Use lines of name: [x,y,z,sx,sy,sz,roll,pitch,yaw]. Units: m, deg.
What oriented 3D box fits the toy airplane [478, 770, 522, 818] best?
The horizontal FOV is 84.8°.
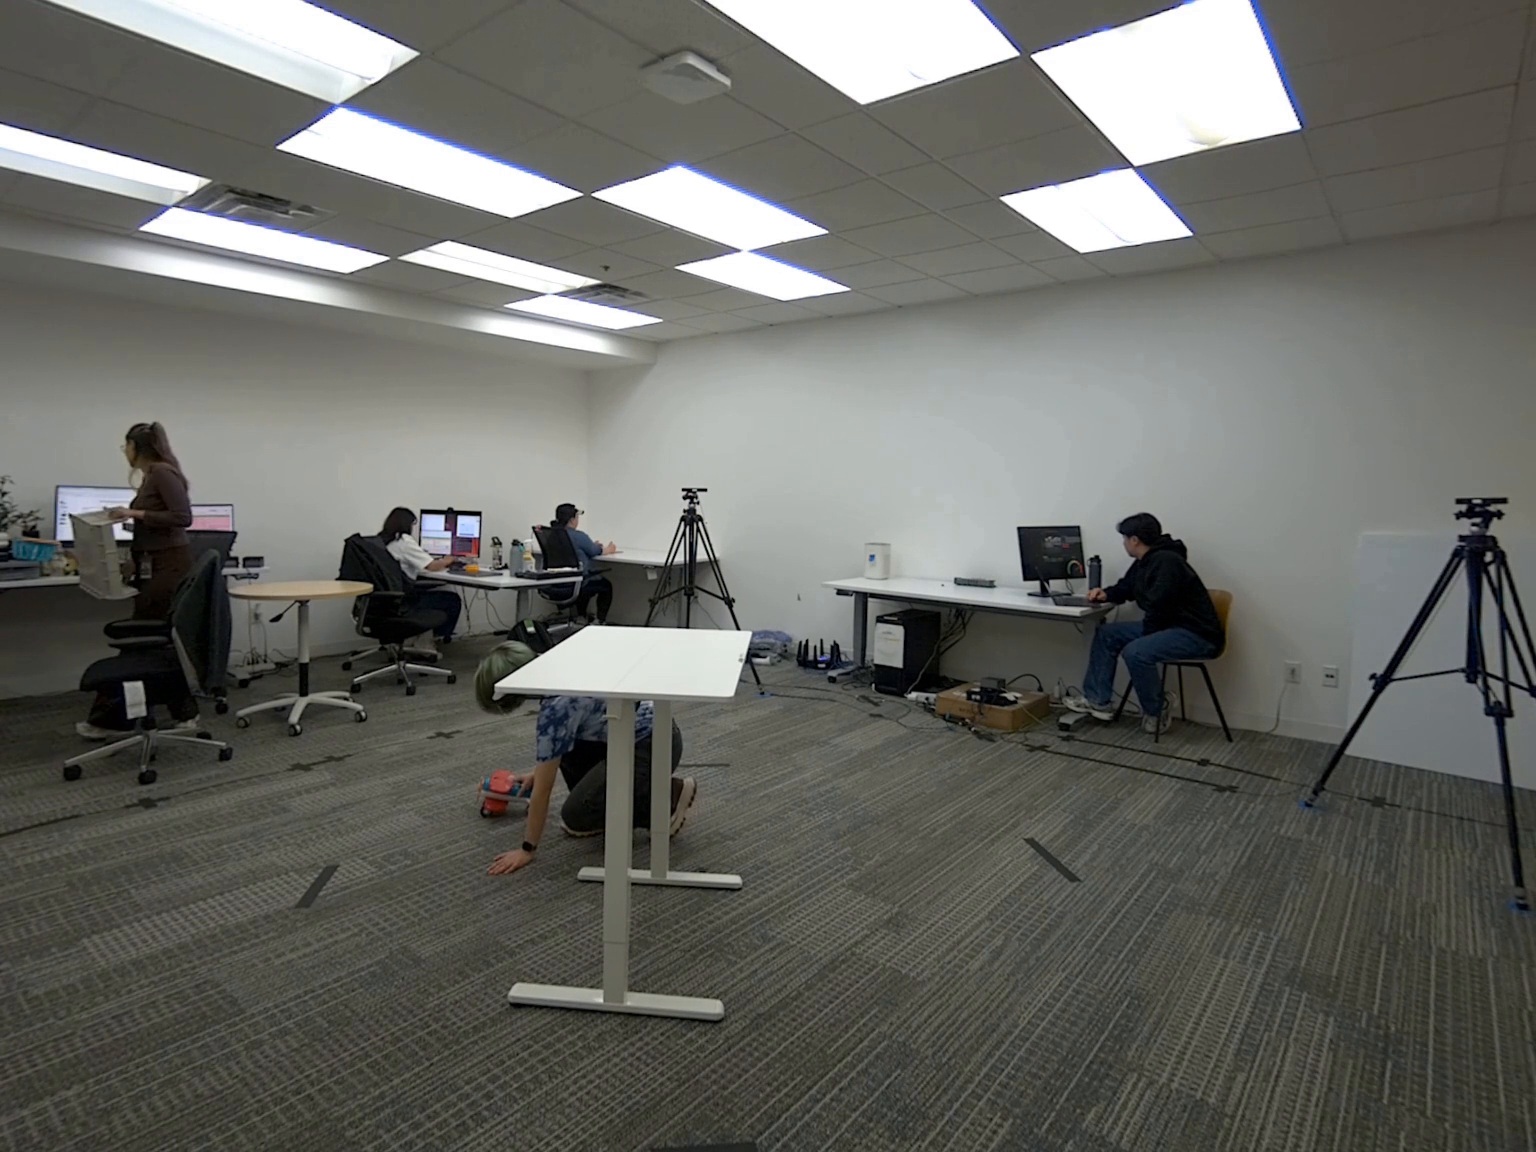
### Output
toy airplane: [-1.131,0.932,3.647,0.252,0.156,0.259,-5,7,-37]
